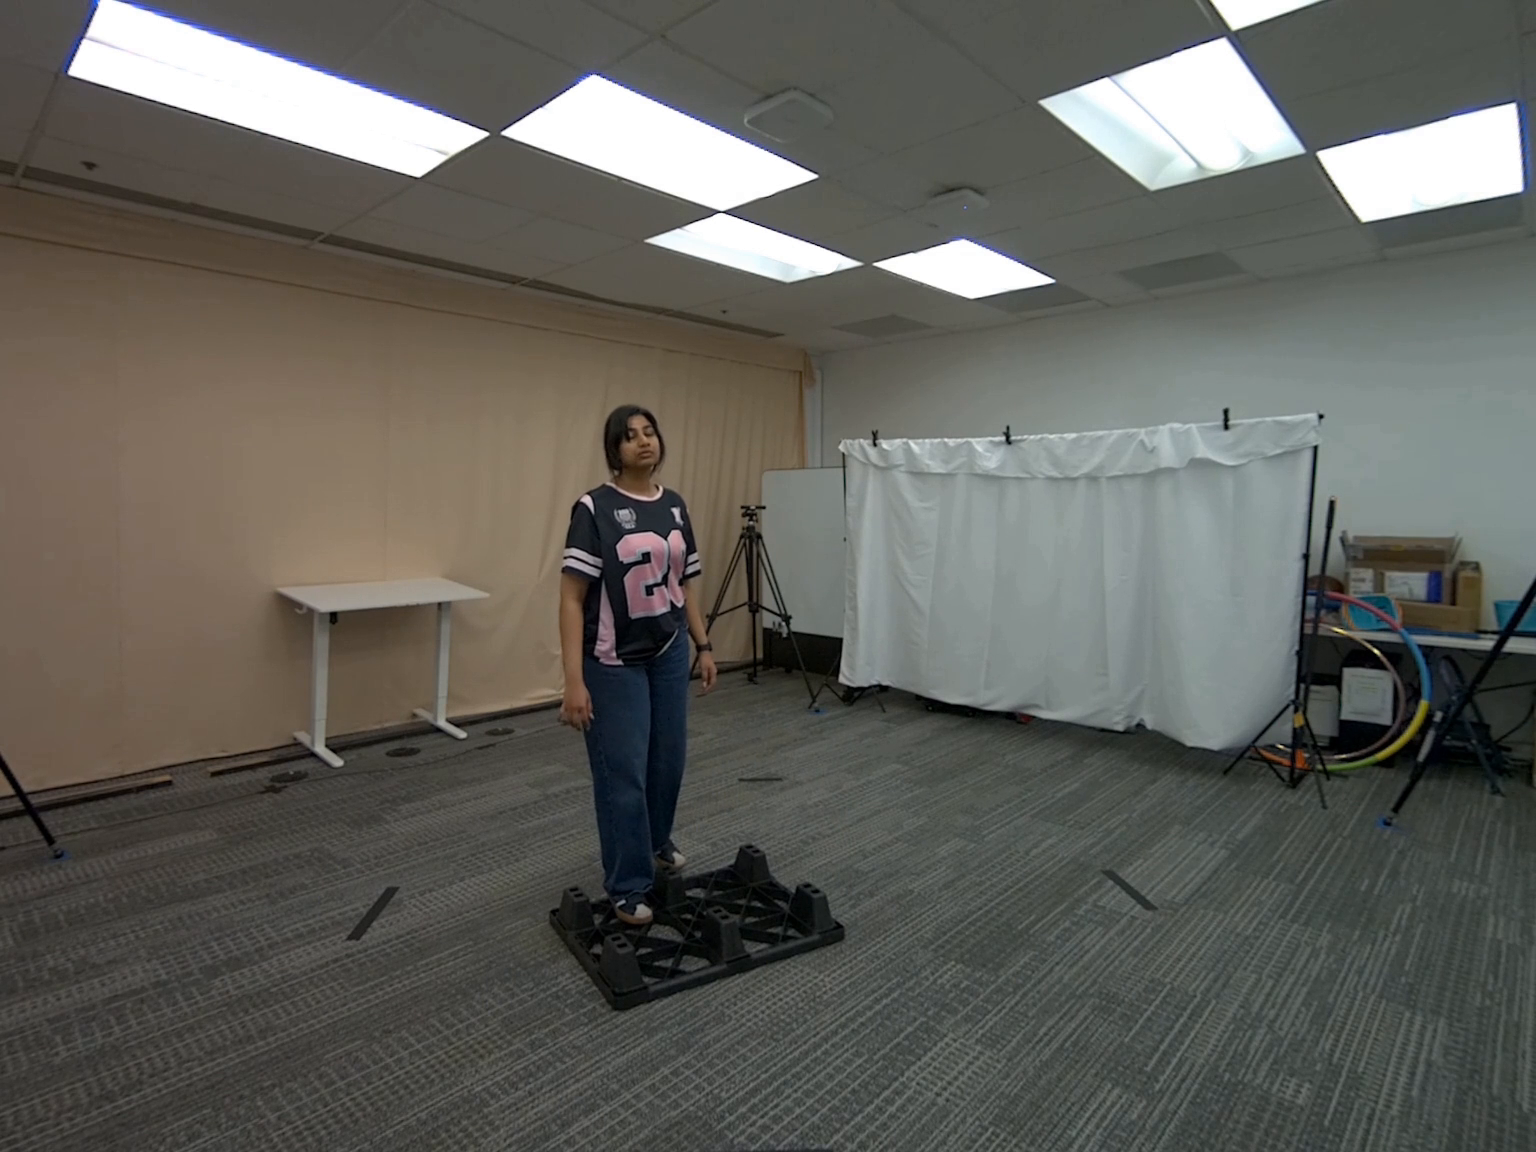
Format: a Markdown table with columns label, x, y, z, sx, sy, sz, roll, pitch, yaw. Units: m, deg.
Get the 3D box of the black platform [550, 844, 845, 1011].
| label | x | y | z | sx | sy | sz | roll | pitch | yaw |
| --- | --- | --- | --- | --- | --- | --- | --- | --- | --- |
| black platform | -0.237 | 1.100 | 2.765 | 0.784 | 0.143 | 0.623 | -3 | 6 | -31 |
